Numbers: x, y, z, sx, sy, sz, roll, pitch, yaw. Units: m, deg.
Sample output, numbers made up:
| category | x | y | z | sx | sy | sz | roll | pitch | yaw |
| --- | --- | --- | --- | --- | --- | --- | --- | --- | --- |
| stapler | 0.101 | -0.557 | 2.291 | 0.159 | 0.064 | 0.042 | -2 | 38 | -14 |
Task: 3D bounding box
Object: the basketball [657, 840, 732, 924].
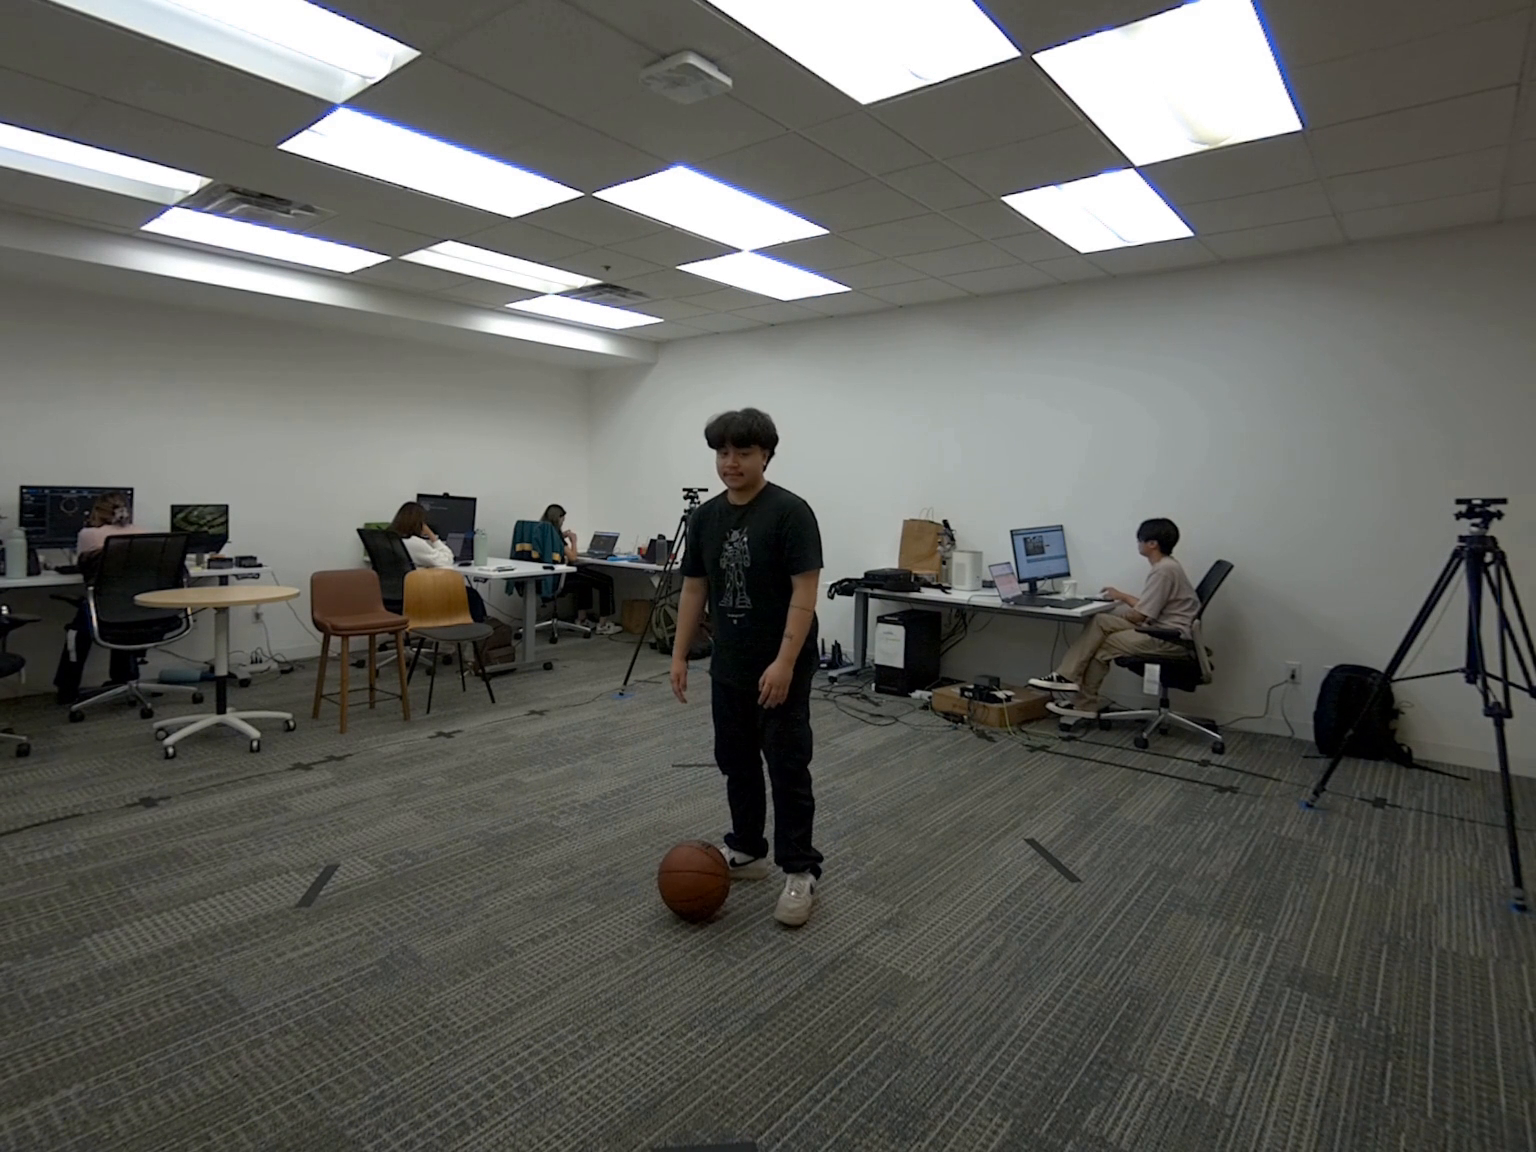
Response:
| category | x | y | z | sx | sy | sz | roll | pitch | yaw |
| --- | --- | --- | --- | --- | --- | --- | --- | --- | --- |
| basketball | -0.249 | 0.981 | 2.768 | 0.235 | 0.235 | 0.237 | 1 | 4 | -2 |
